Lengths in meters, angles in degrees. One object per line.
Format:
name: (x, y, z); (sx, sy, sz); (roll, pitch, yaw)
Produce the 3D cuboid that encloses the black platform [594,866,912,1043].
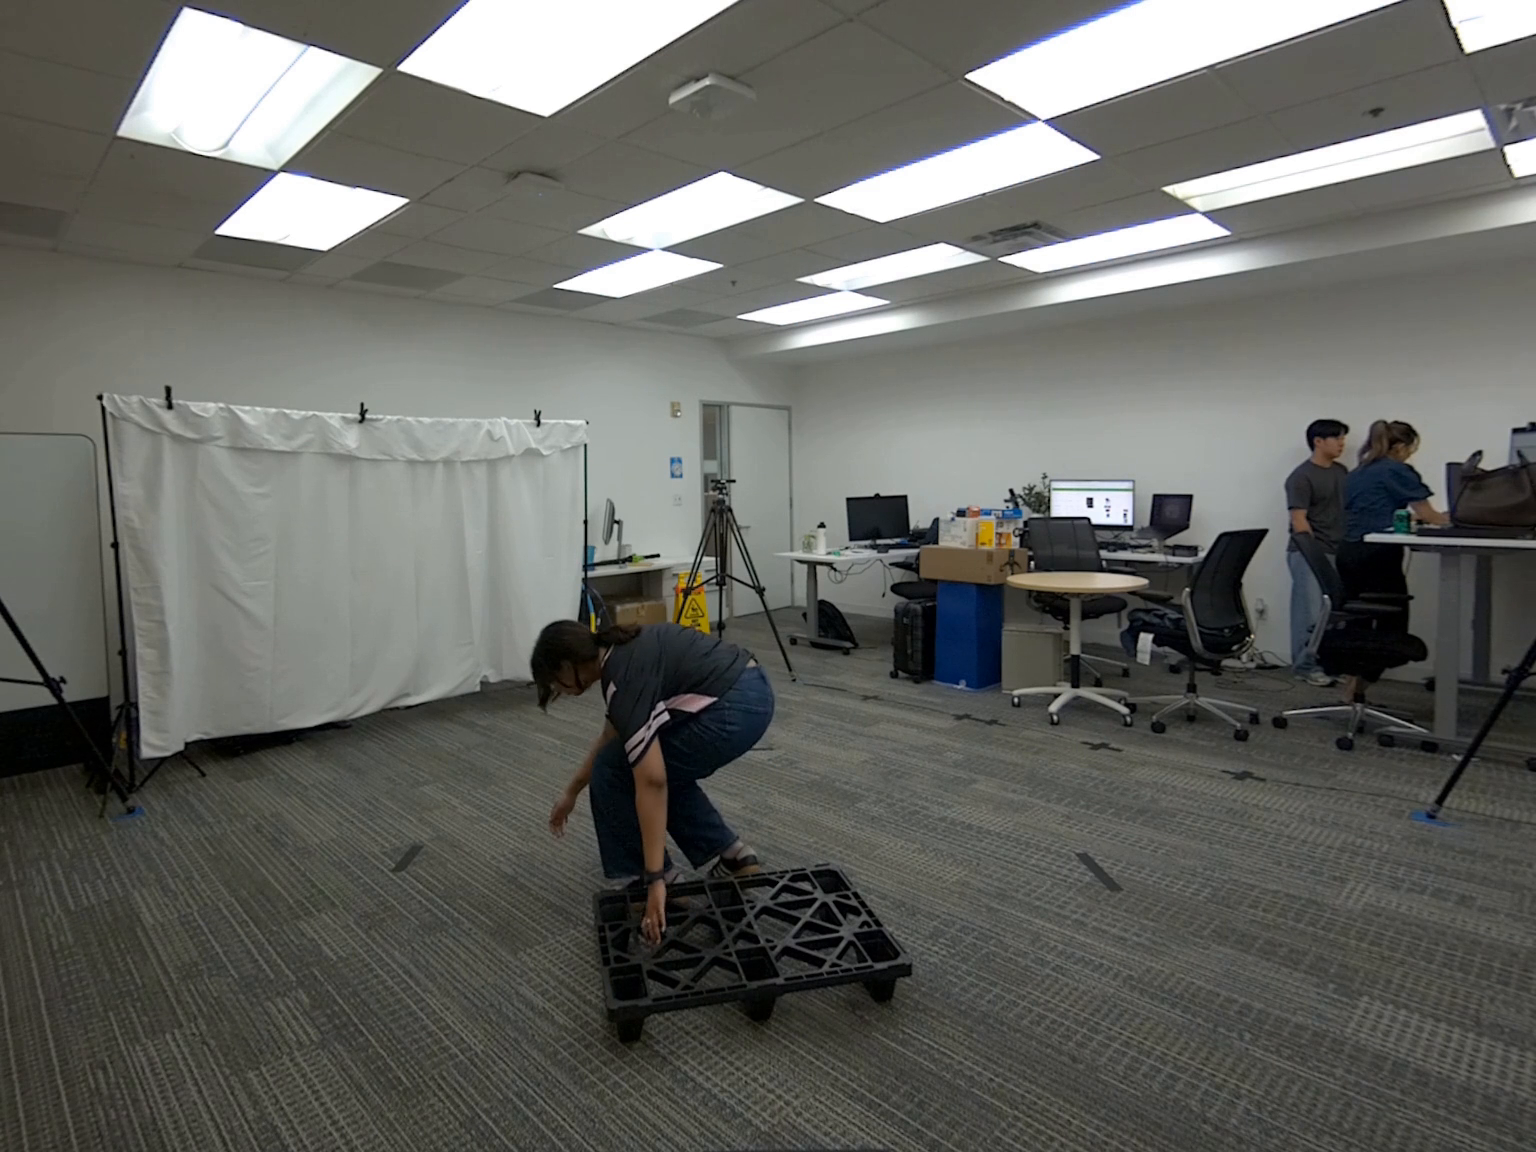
black platform: (-0.082, 1.058, 2.436); (0.796, 0.143, 0.615); (-3, 6, -13)
